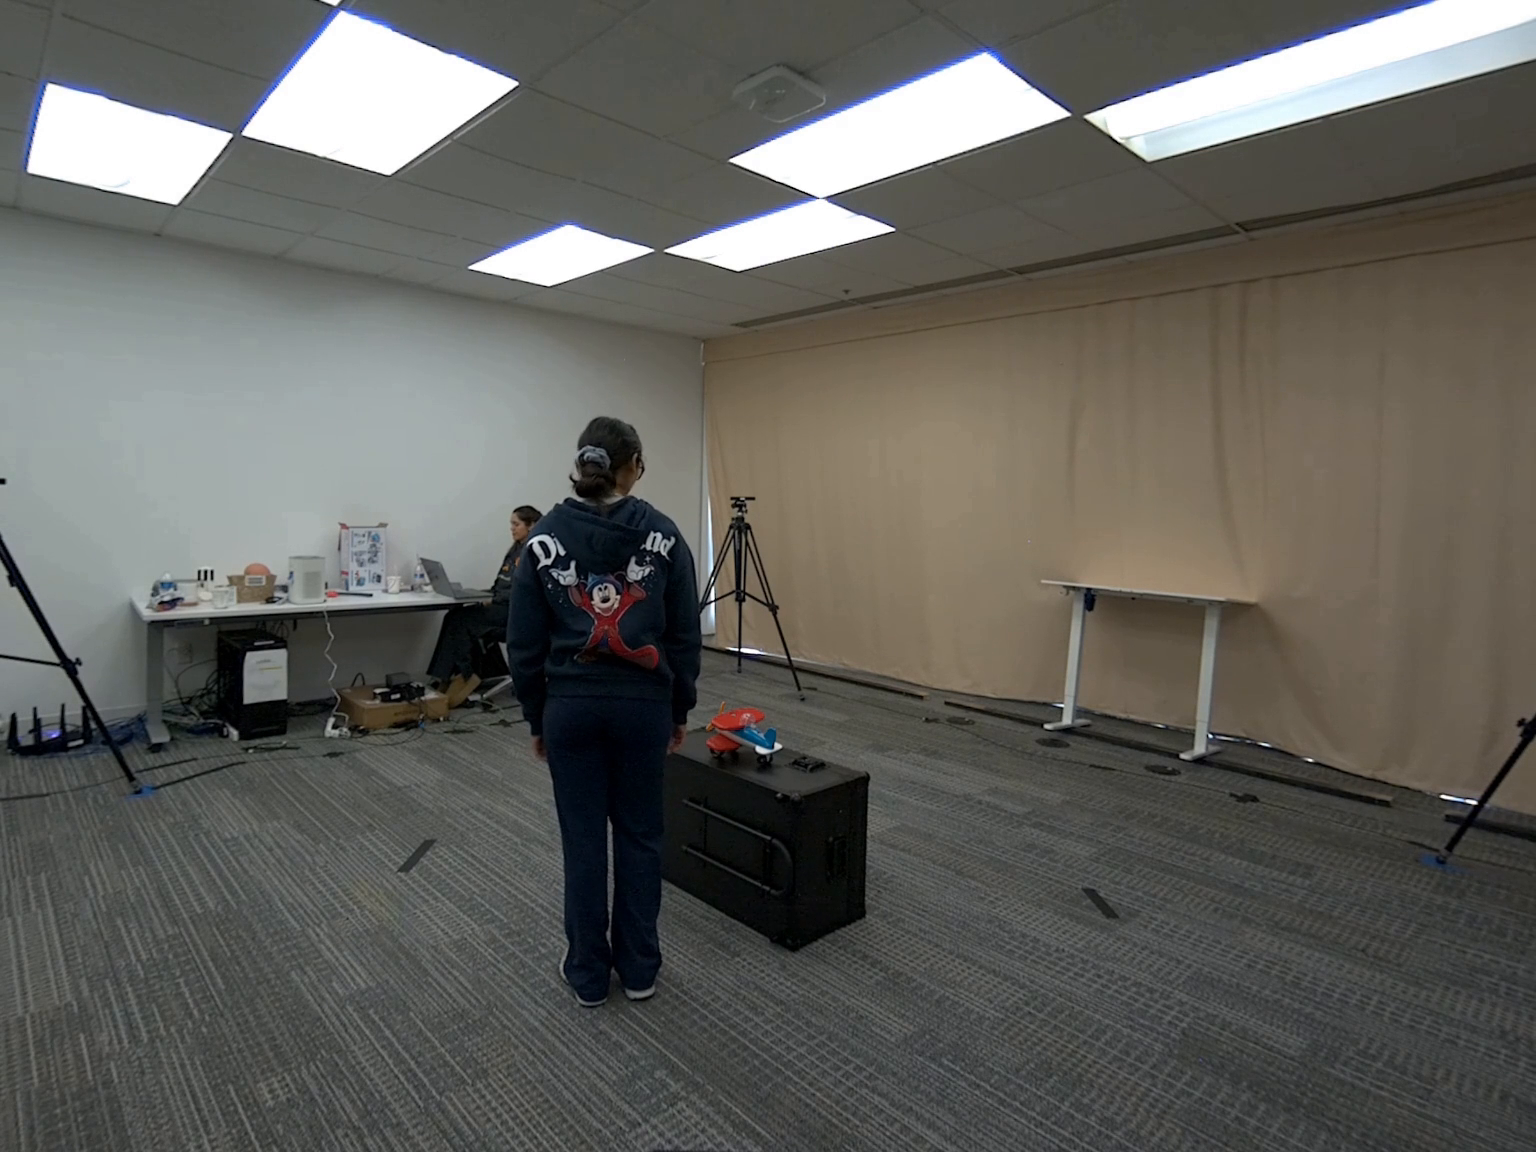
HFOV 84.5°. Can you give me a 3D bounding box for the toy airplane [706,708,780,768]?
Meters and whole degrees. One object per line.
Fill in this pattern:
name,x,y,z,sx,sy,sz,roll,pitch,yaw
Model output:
toy airplane,-0.076,0.562,2.969,0.261,0.156,0.249,2,4,9
